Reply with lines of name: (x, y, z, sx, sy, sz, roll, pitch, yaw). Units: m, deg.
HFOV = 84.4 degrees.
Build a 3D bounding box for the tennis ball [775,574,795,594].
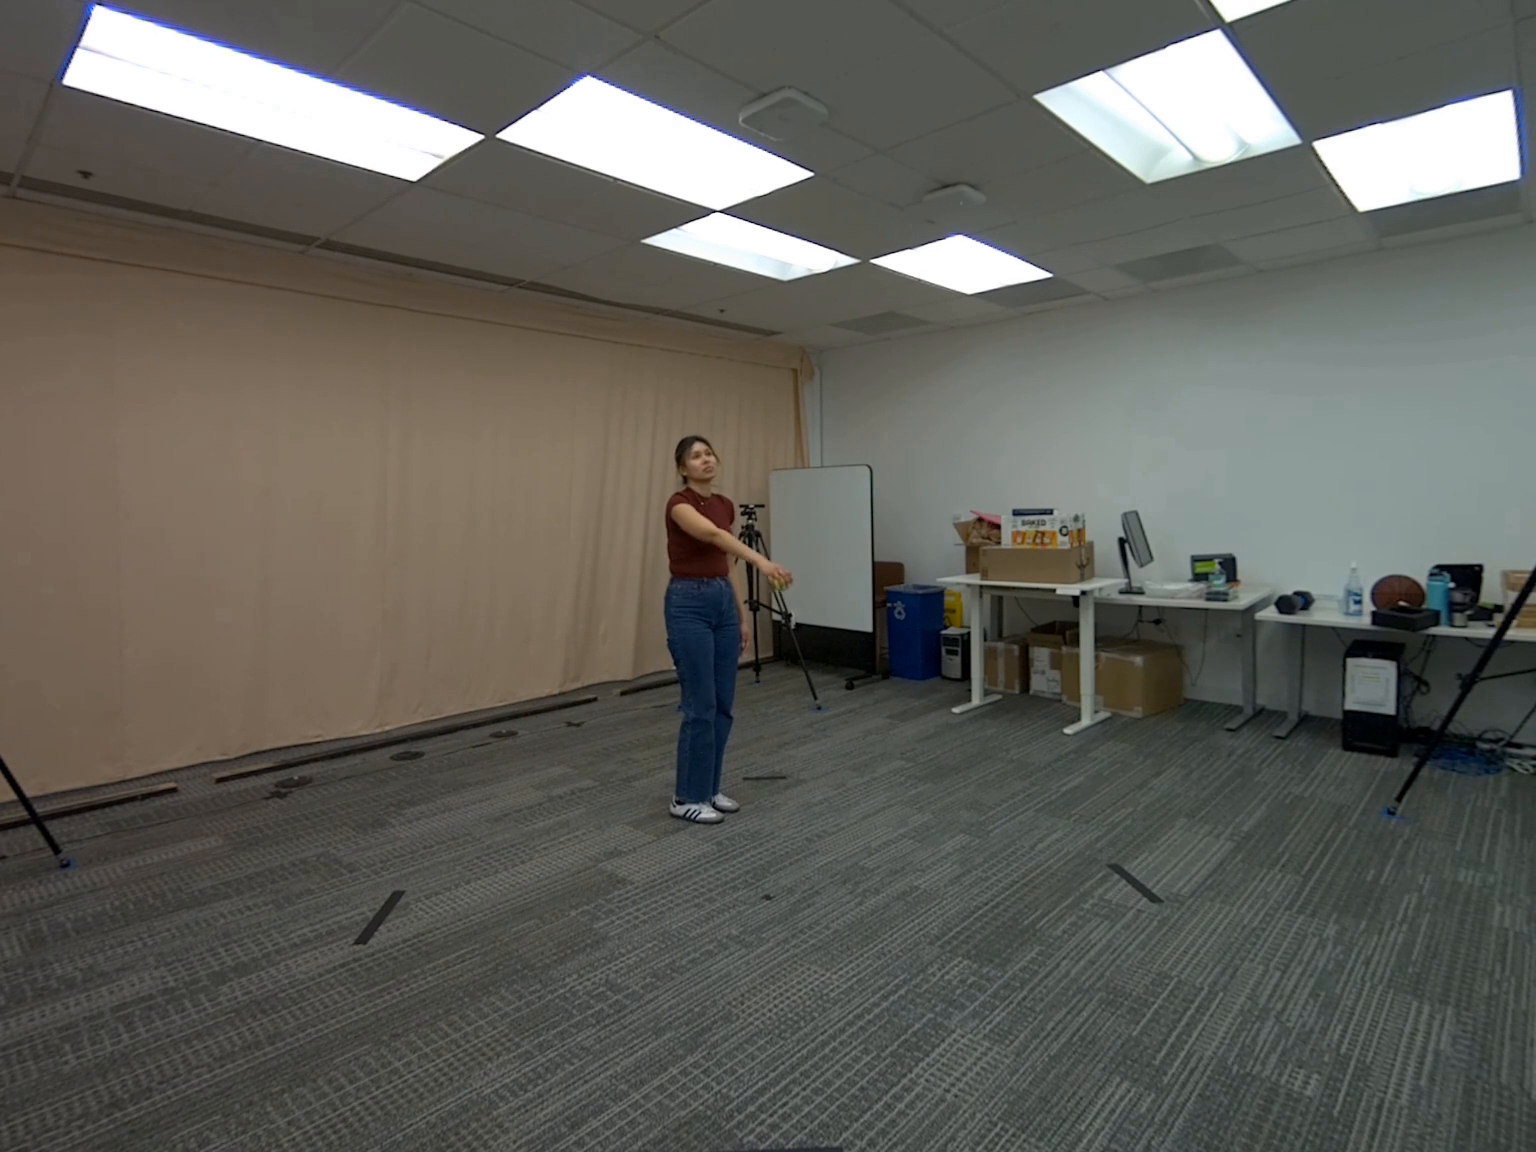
tennis ball: (0.062, 0.028, 3.271, 0.066, 0.066, 0.067, -1, 4, -2)
